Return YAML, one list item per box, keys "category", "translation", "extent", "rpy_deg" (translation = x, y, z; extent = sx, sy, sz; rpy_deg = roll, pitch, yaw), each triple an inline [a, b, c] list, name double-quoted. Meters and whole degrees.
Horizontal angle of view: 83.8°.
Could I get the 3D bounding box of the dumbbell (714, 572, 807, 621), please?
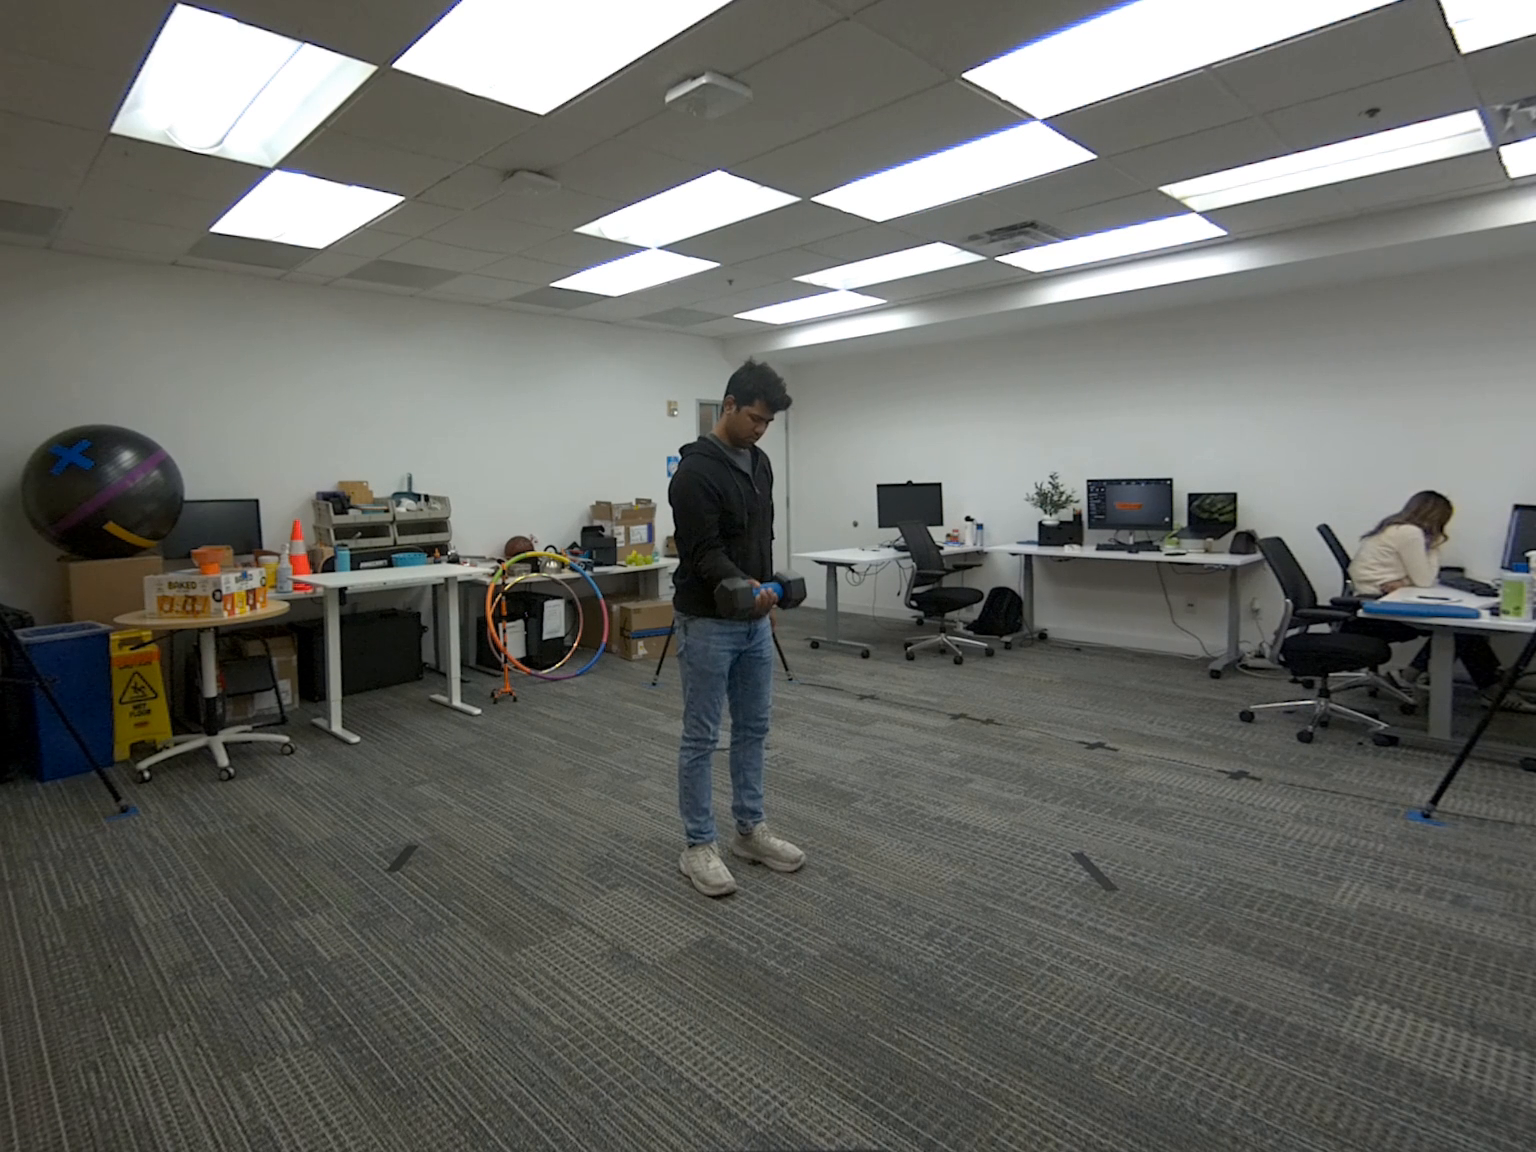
- category: "dumbbell"
  translation: [-0.026, 0.050, 2.616]
  extent: [0.286, 0.107, 0.128]
  rpy_deg: [-8, 25, -39]
